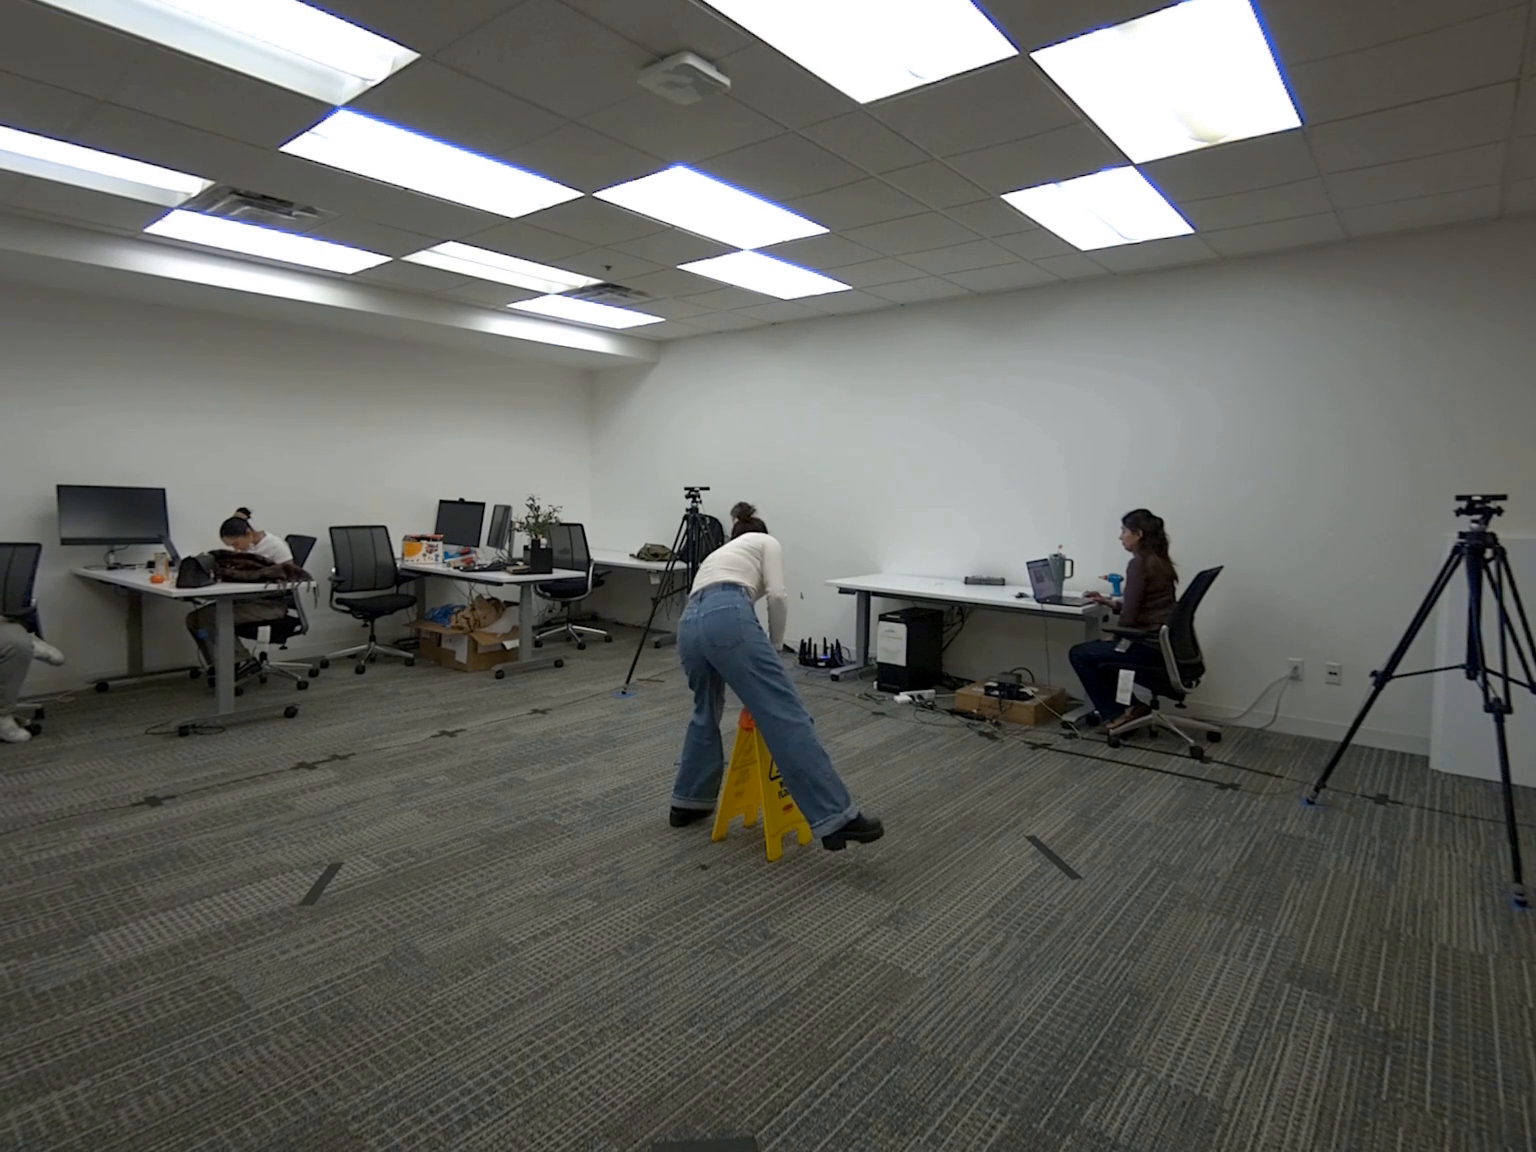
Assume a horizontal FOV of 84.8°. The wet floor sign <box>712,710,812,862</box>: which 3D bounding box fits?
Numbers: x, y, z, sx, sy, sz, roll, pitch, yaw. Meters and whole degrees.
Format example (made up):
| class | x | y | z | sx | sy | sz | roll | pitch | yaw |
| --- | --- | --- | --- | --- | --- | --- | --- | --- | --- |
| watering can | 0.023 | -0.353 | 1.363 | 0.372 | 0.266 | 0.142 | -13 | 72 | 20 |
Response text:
| class | x | y | z | sx | sy | sz | roll | pitch | yaw |
| --- | --- | --- | --- | --- | --- | --- | --- | --- | --- |
| wet floor sign | -0.022 | 0.724 | 3.349 | 0.299 | 0.644 | 0.274 | 4 | 4 | 38 |
